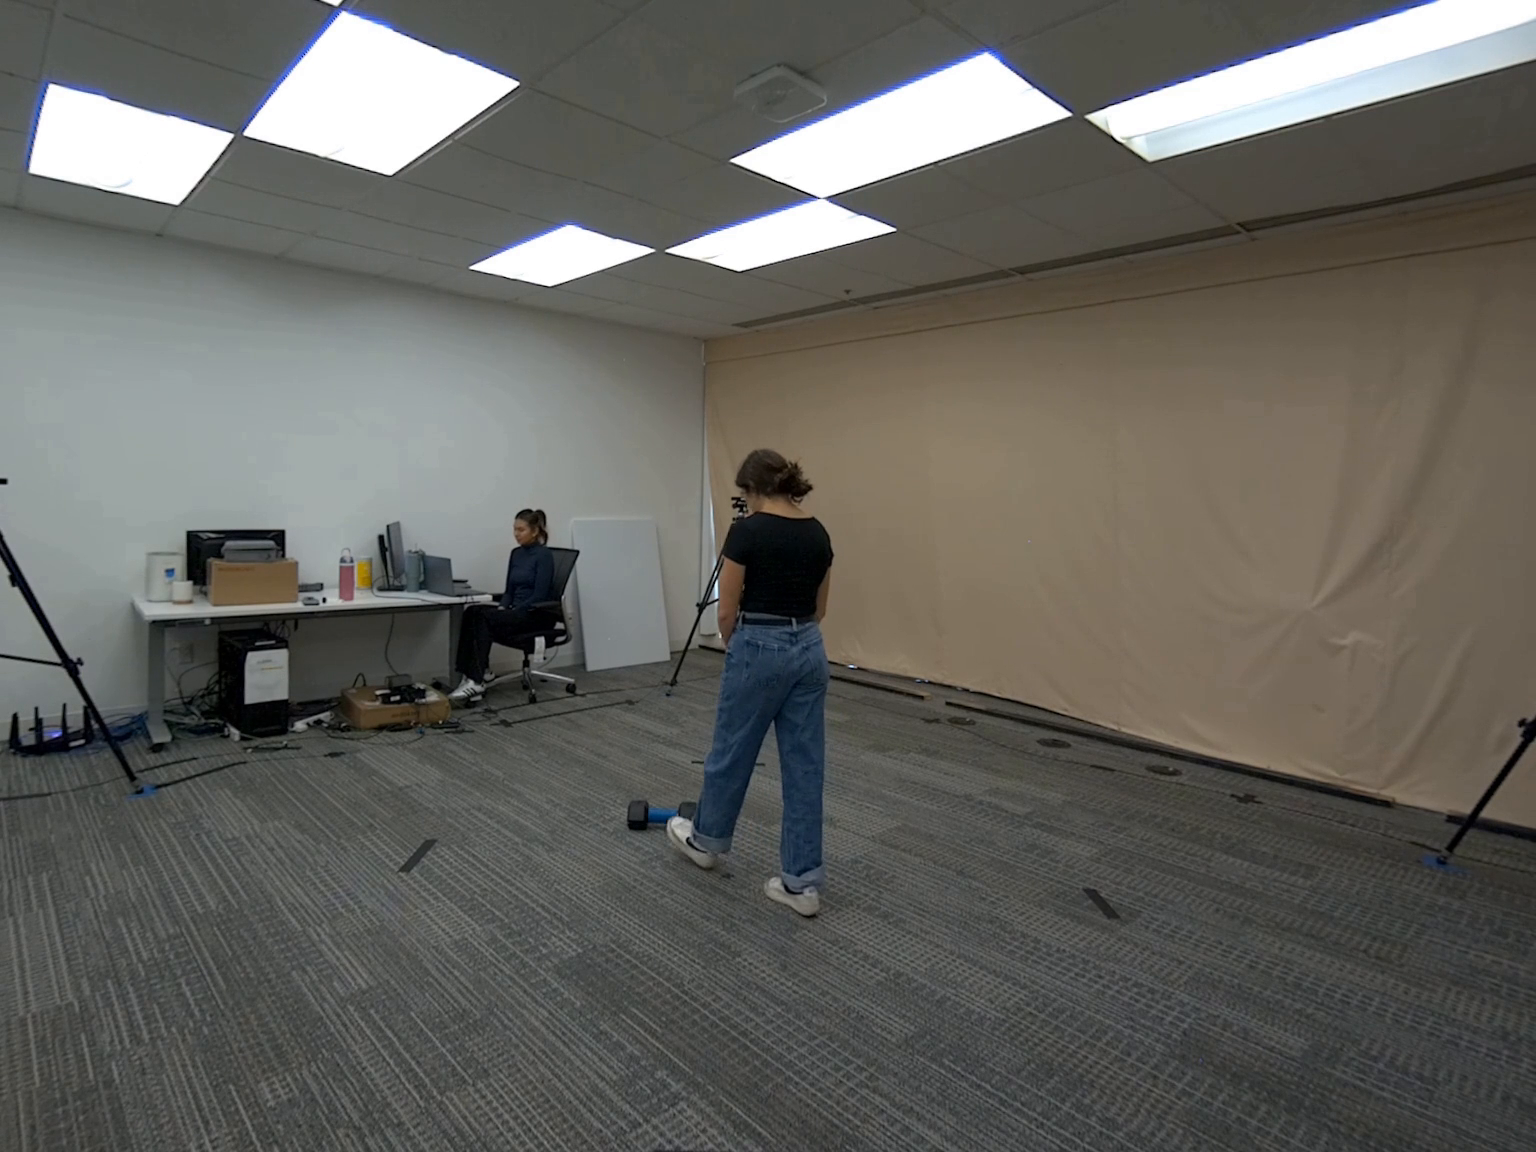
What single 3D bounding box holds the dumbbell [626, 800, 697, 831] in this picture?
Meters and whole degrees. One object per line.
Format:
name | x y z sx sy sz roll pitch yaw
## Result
dumbbell | -0.448 1.009 3.535 0.294 0.120 0.111 2 35 2
